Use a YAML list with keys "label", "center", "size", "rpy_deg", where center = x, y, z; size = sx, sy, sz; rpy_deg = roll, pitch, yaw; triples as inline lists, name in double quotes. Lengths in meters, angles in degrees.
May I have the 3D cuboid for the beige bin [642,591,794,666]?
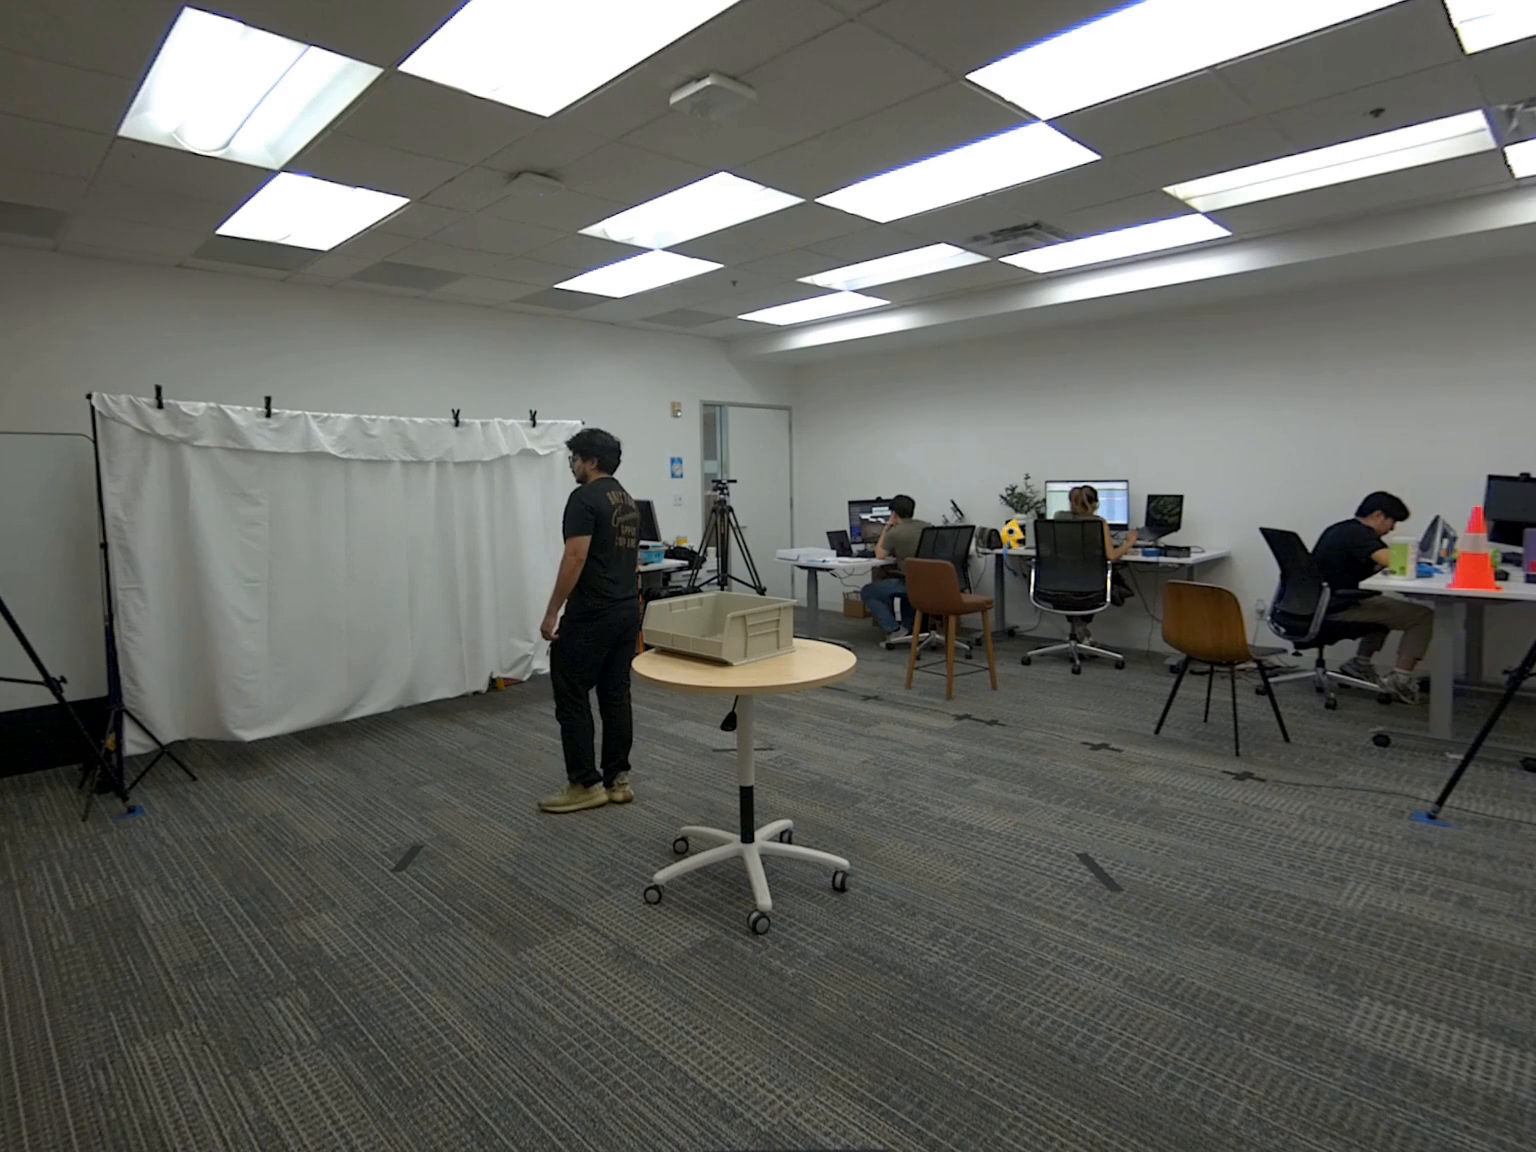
- label: "beige bin"
  center: [-0.169, 0.183, 3.046]
  size: [0.435, 0.188, 0.367]
  rpy_deg: [4, 7, 44]
